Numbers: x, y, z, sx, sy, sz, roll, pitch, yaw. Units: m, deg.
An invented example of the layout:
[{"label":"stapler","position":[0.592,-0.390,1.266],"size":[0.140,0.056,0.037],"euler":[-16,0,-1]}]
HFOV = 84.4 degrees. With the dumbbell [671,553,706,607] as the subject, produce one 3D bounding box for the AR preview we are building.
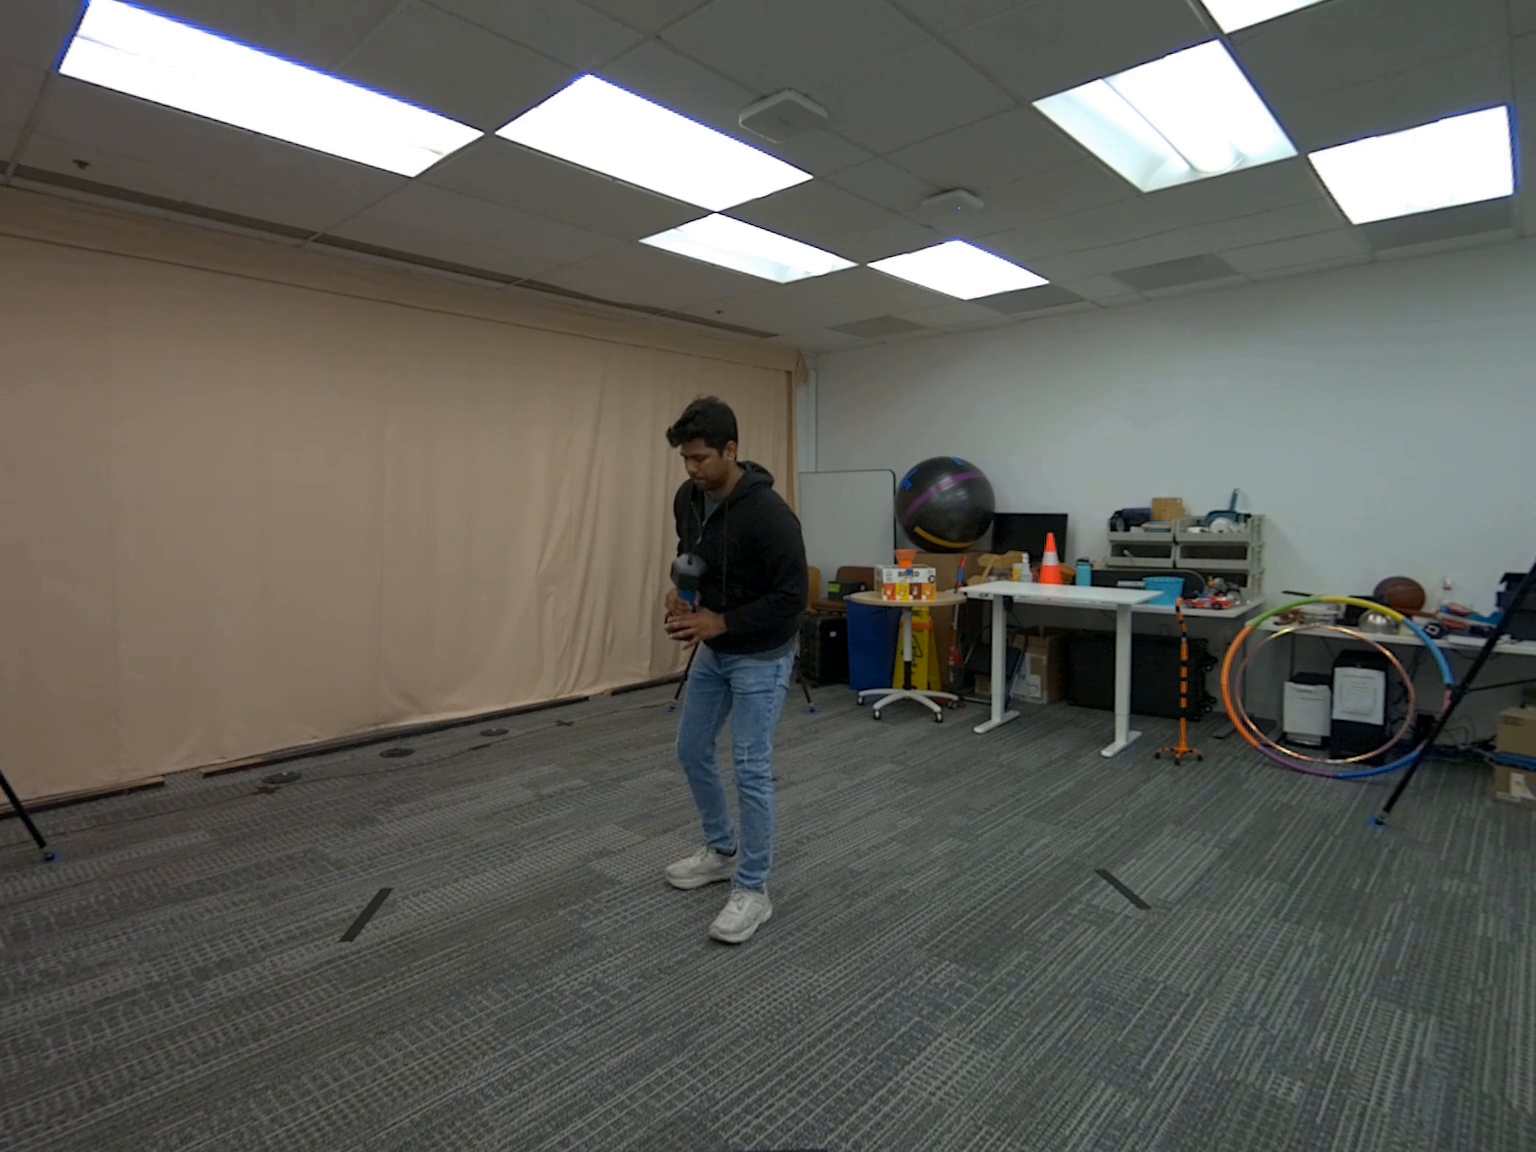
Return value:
[{"label":"dumbbell","position":[-0.268,0.079,2.774],"size":[0.122,0.290,0.111],"euler":[6,40,-7]}]
